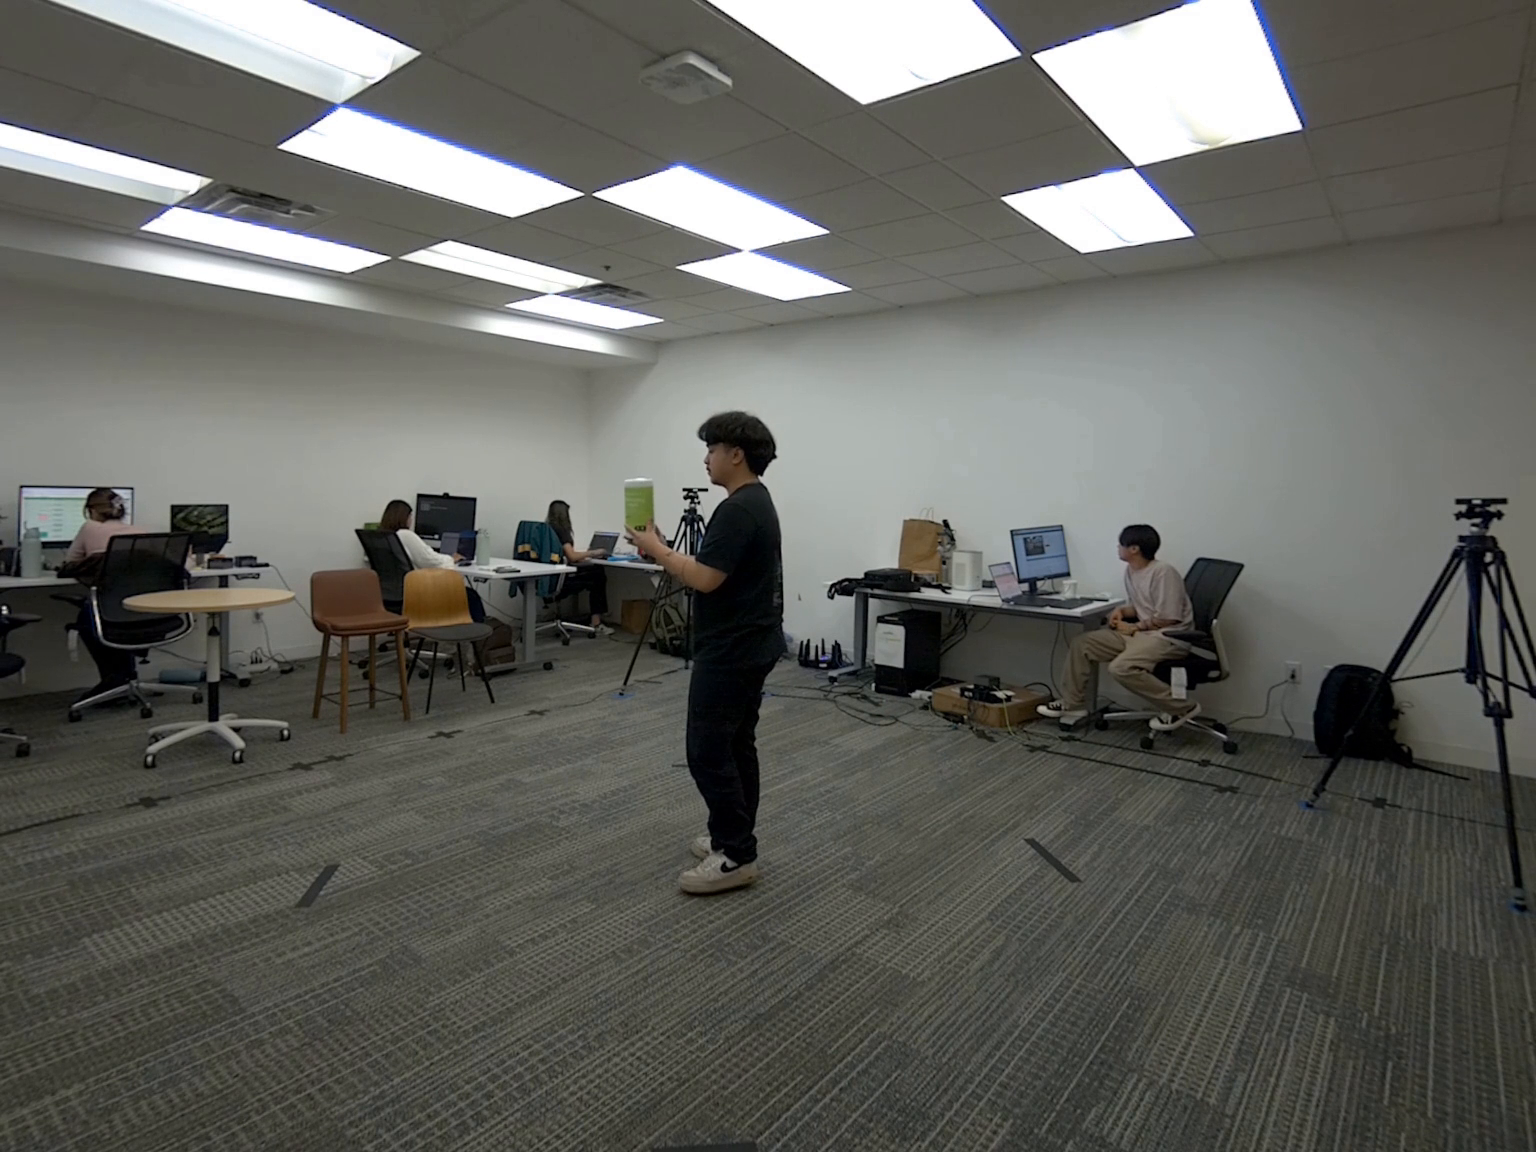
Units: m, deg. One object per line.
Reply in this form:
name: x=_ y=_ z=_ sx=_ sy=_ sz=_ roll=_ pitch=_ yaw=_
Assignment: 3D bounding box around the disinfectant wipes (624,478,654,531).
disinfectant wipes: x=-0.484 y=-0.251 z=3.135 sx=0.118 sy=0.216 sz=0.118 roll=-3 pitch=6 yaw=-2
